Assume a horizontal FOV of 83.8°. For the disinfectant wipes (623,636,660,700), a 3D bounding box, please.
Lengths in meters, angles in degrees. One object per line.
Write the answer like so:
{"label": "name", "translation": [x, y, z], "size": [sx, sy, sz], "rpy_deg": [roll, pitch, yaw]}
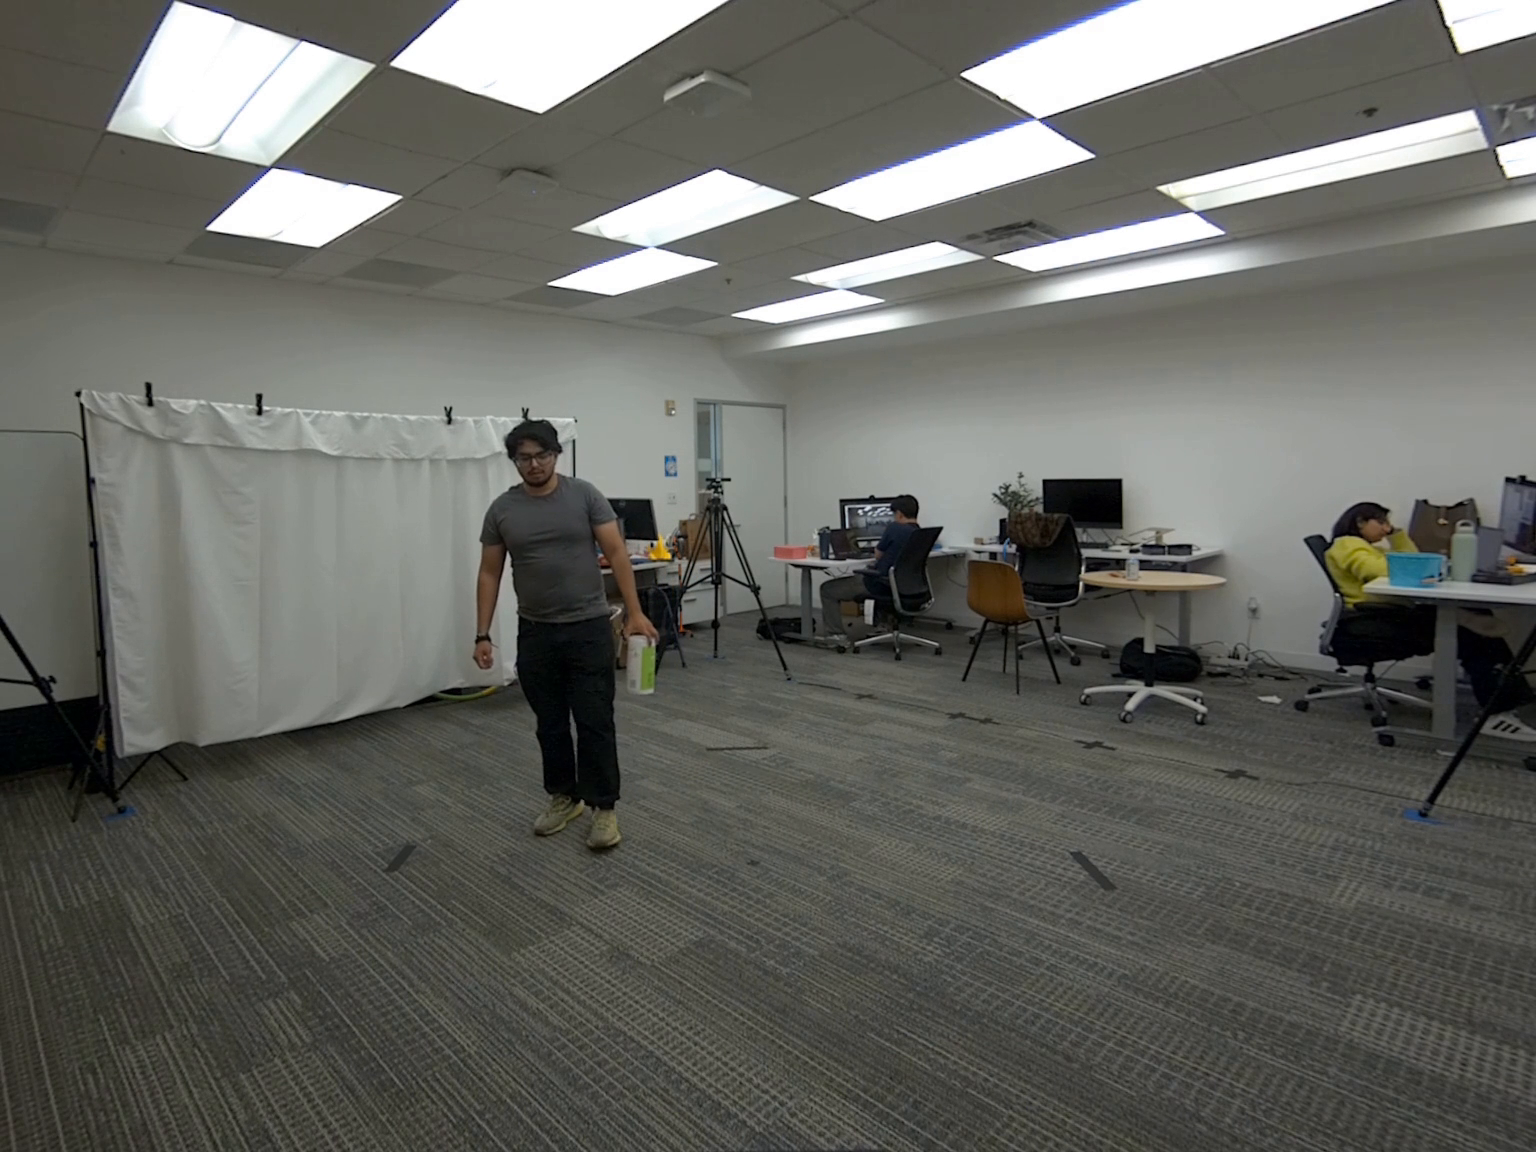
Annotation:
{"label": "disinfectant wipes", "translation": [-0.490, 0.350, 3.303], "size": [0.118, 0.217, 0.118], "rpy_deg": [3, 1, -2]}
